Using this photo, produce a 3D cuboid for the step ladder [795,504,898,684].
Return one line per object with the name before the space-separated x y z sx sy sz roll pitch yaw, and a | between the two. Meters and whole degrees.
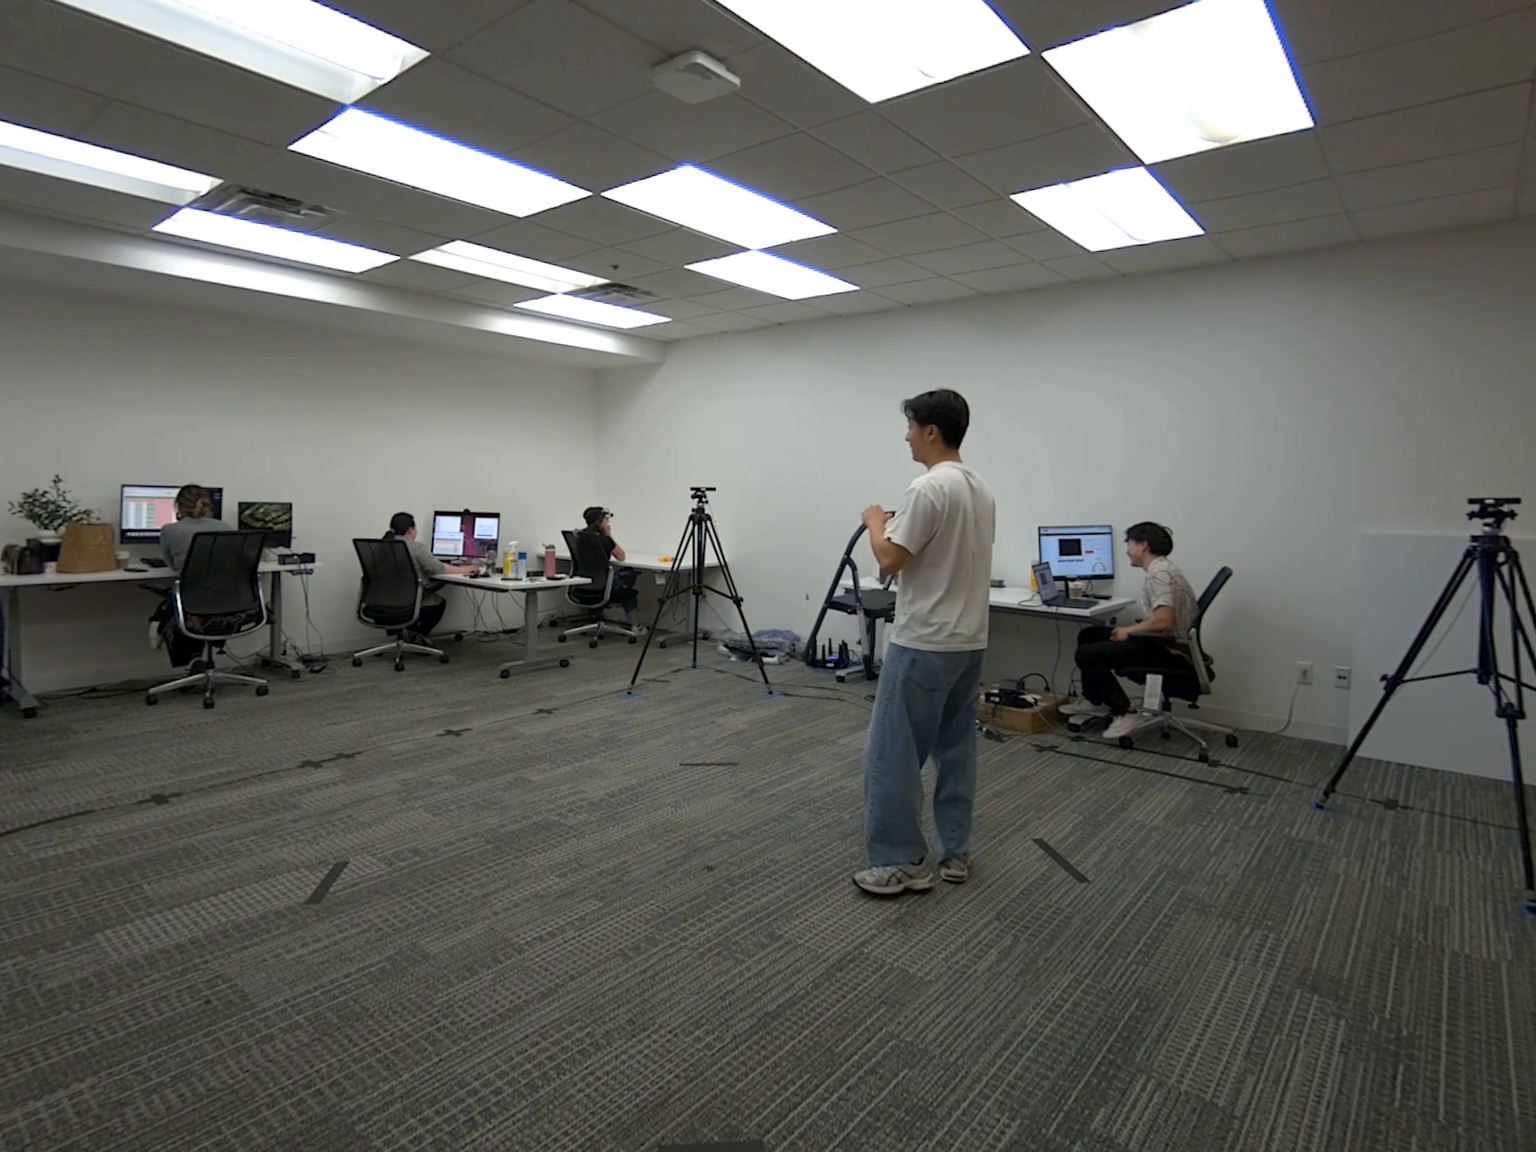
step ladder | 0.394 0.045 3.317 0.362 0.601 0.418 10 11 41
